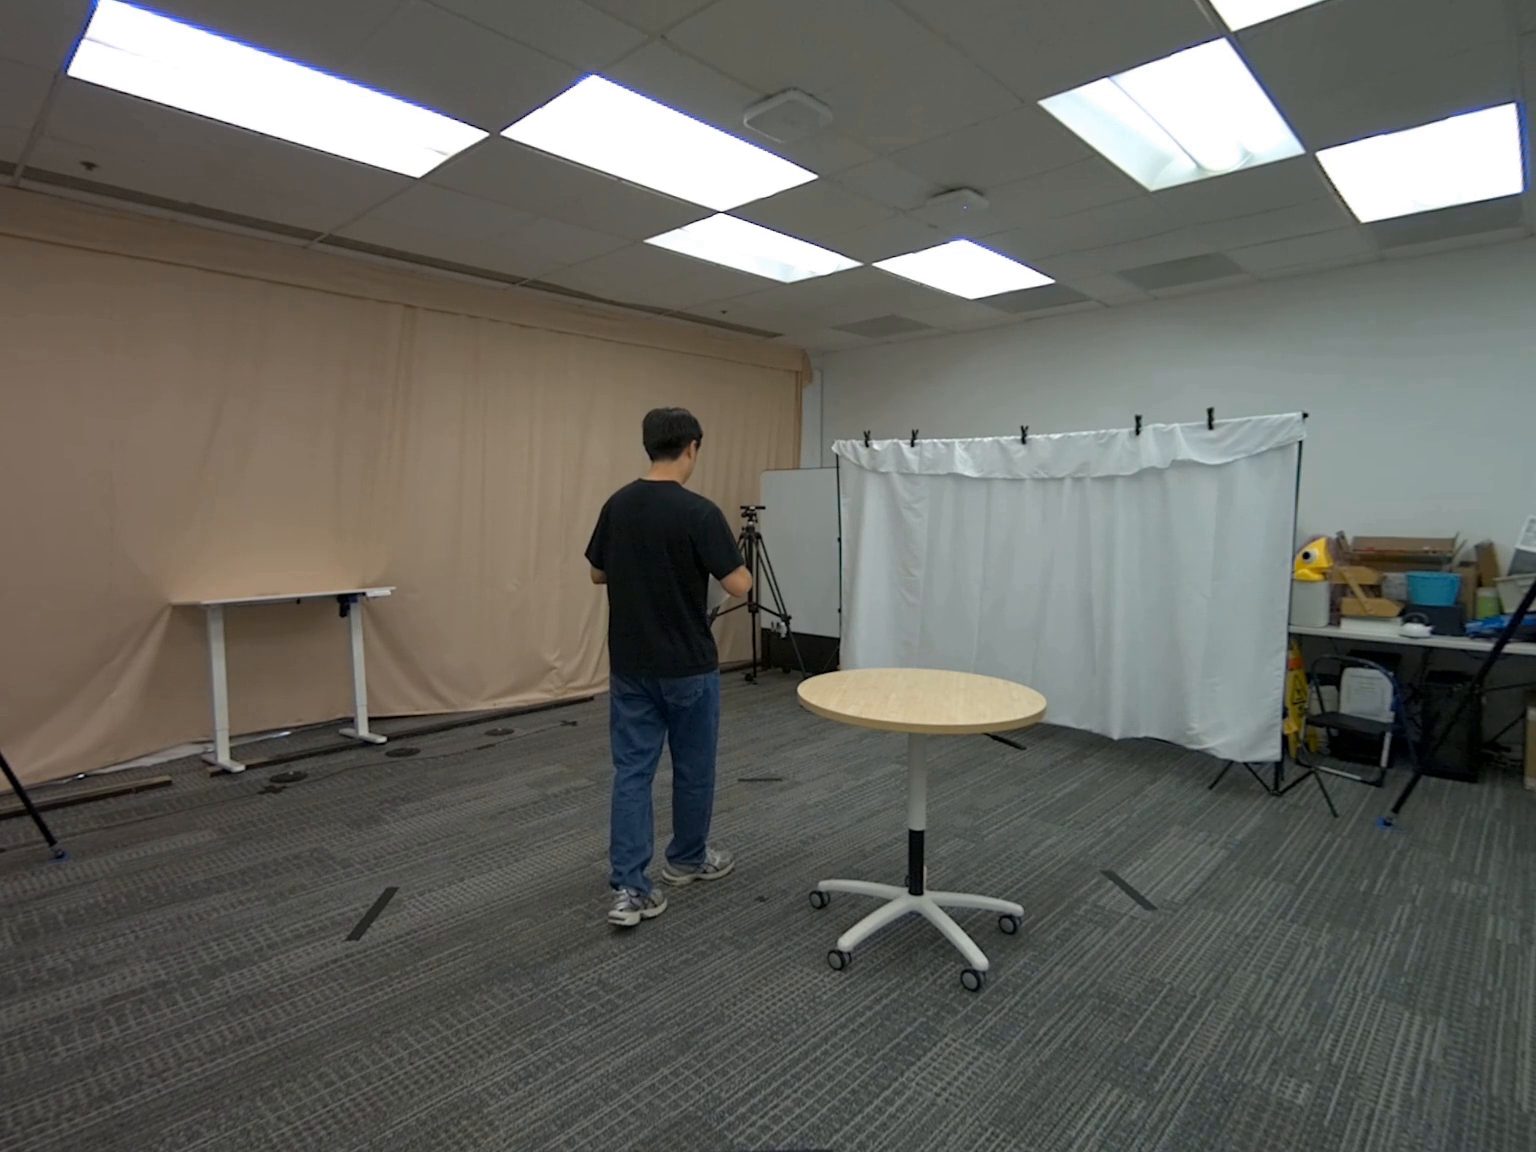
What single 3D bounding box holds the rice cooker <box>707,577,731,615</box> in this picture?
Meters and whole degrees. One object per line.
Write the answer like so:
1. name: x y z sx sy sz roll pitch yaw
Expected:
1. rice cooker: -0.243 0.003 3.212 0.226 0.226 0.218 -6 42 29
